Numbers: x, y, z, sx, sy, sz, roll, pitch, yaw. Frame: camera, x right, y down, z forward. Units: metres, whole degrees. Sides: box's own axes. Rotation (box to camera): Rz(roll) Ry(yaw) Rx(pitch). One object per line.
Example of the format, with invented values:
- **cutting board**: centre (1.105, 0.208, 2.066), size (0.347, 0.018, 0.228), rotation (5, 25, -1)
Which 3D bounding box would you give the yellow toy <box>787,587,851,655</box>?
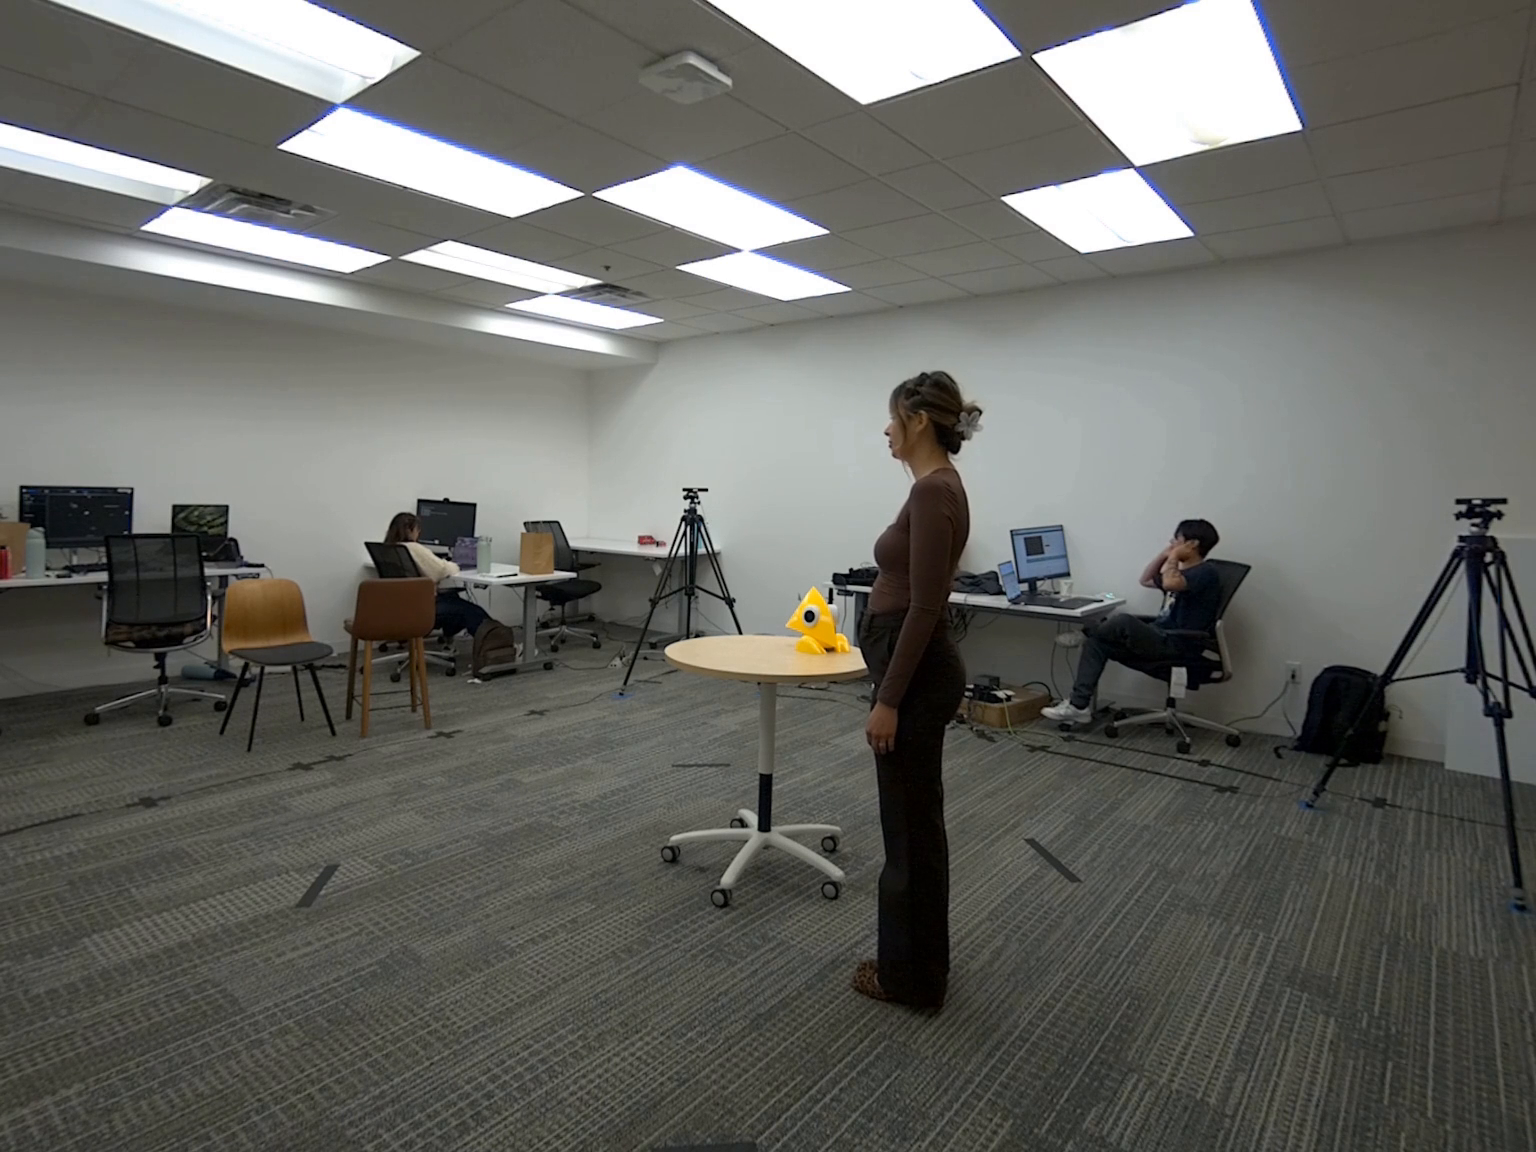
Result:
- **yellow toy**: centre (0.194, 0.161, 3.202), size (0.199, 0.230, 0.199), rotation (0, 4, -30)
